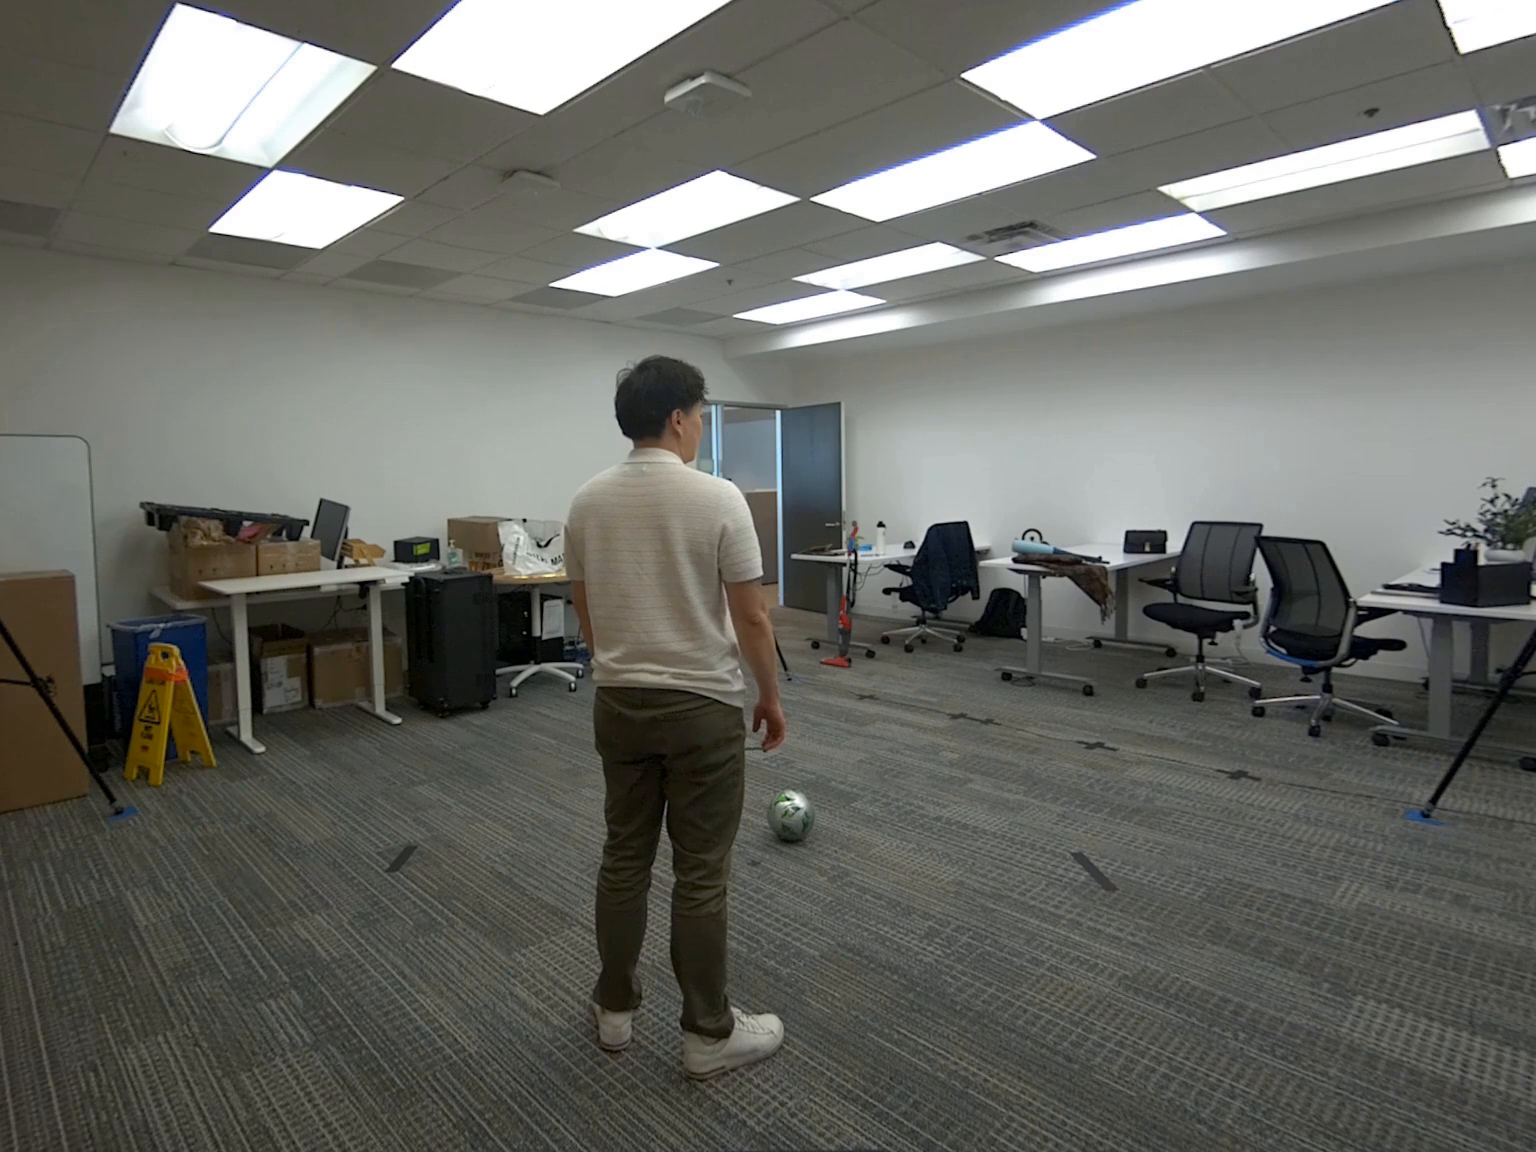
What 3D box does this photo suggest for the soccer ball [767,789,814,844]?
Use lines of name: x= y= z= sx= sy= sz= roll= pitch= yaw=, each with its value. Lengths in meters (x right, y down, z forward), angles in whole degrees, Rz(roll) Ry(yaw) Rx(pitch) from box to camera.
soccer ball: x=0.085 y=0.918 z=3.308 sx=0.187 sy=0.187 sz=0.188 roll=-1 pitch=5 yaw=-2
